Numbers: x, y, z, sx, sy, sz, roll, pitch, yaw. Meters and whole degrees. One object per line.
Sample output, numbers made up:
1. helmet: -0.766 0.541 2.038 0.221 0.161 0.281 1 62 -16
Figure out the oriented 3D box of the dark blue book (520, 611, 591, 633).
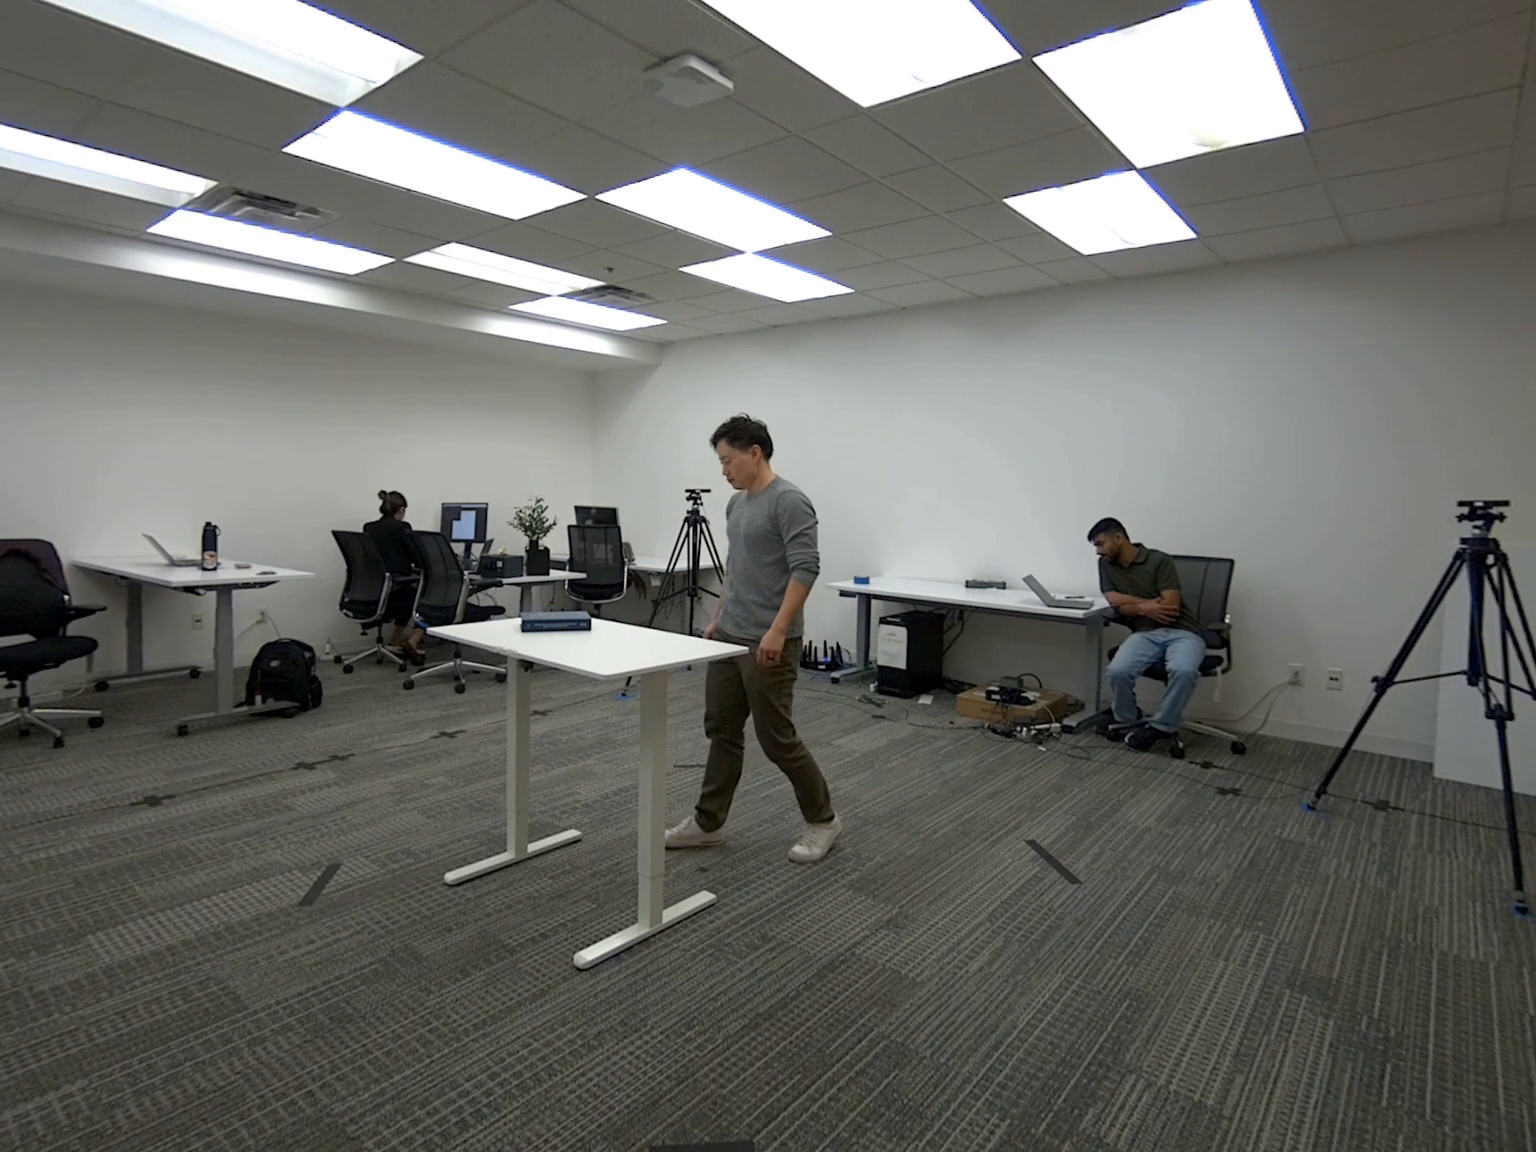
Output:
1. dark blue book: -0.779 0.165 3.062 0.241 0.045 0.167 -2 7 -14
